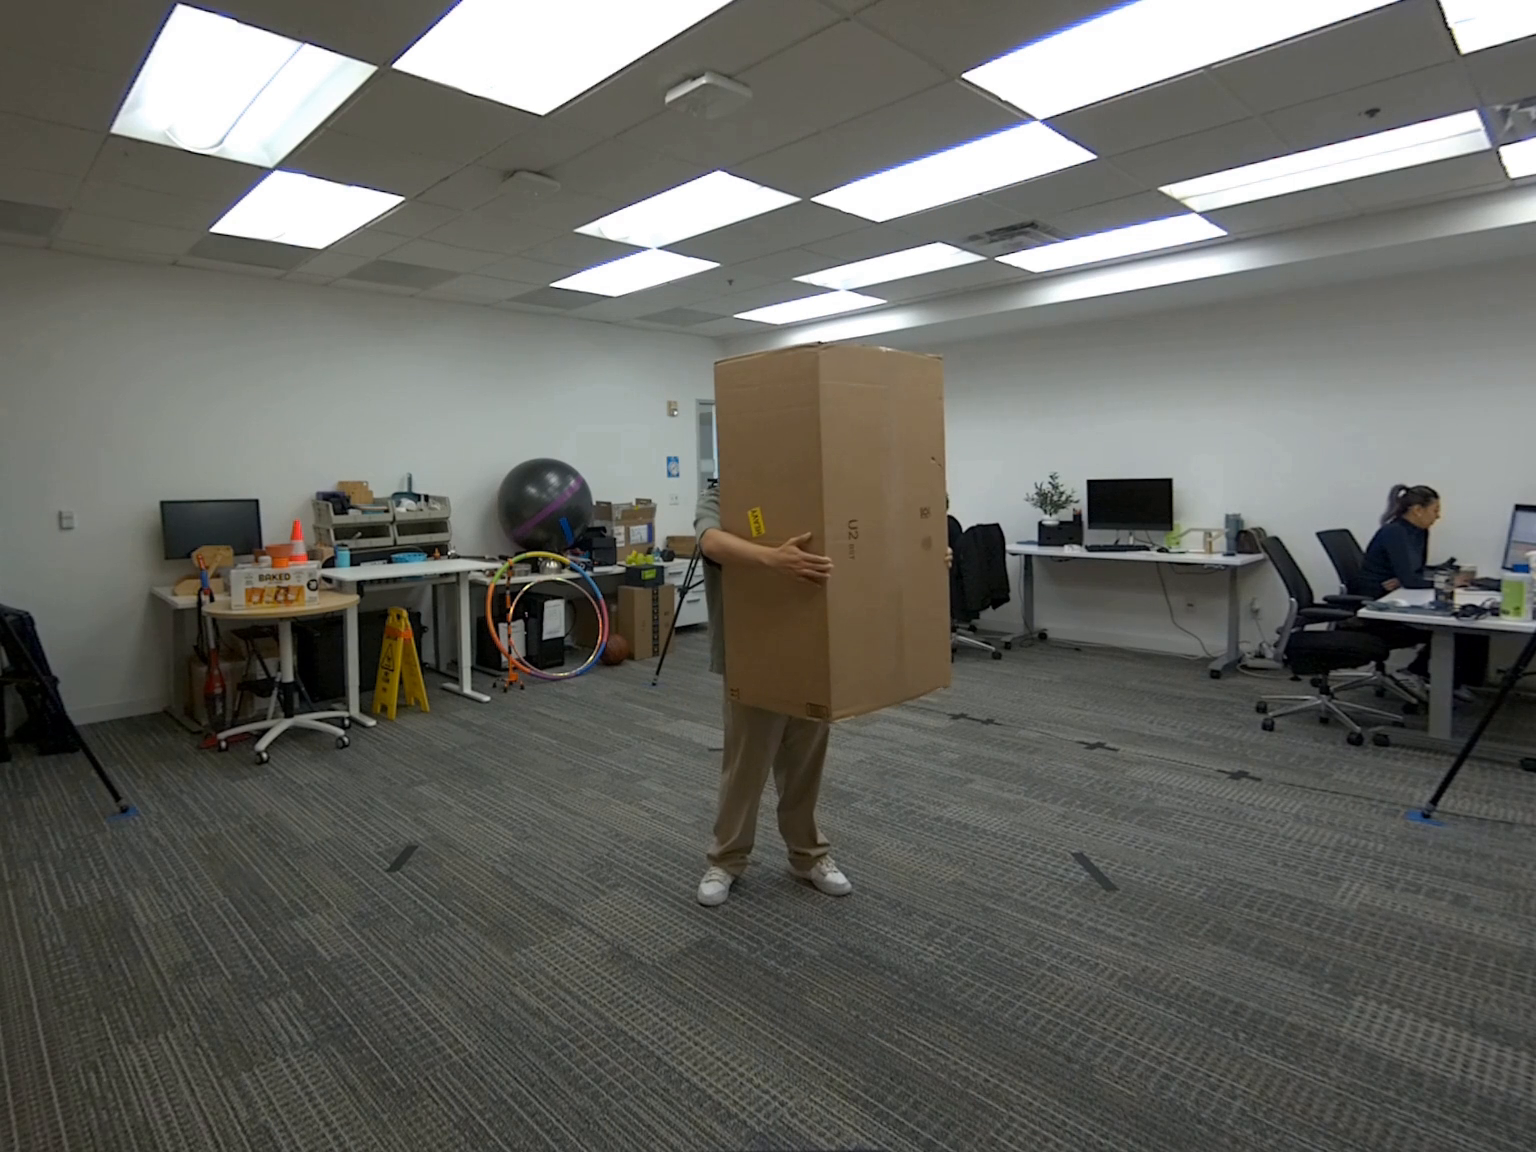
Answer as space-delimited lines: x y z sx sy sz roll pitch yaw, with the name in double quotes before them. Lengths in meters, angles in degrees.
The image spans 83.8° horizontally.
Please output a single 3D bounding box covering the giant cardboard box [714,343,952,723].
"giant cardboard box" 0.202 -0.148 2.596 0.563 1.022 0.439 -6 6 -42
